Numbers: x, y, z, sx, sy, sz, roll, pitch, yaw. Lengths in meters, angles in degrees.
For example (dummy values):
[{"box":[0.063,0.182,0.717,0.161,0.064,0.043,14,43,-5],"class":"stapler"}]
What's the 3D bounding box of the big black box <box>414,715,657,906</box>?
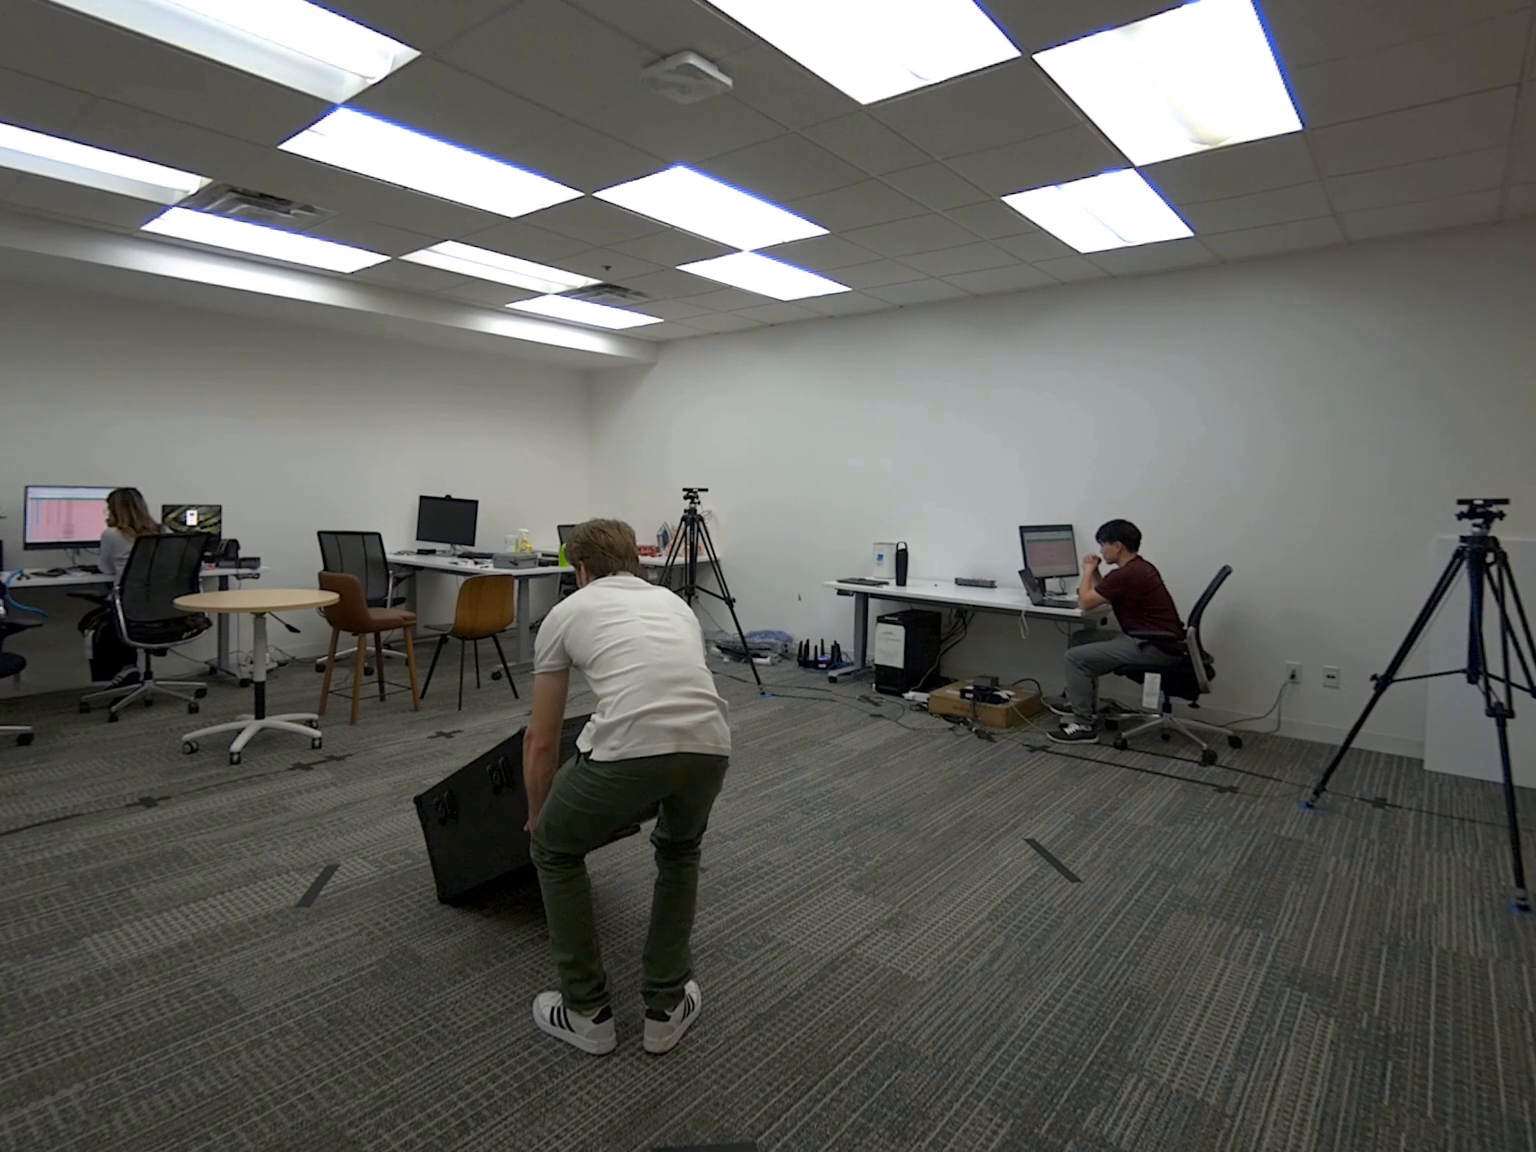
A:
[{"box":[-0.773,0.769,2.830,0.506,0.404,0.870,-4,-22,-48],"class":"big black box"}]
